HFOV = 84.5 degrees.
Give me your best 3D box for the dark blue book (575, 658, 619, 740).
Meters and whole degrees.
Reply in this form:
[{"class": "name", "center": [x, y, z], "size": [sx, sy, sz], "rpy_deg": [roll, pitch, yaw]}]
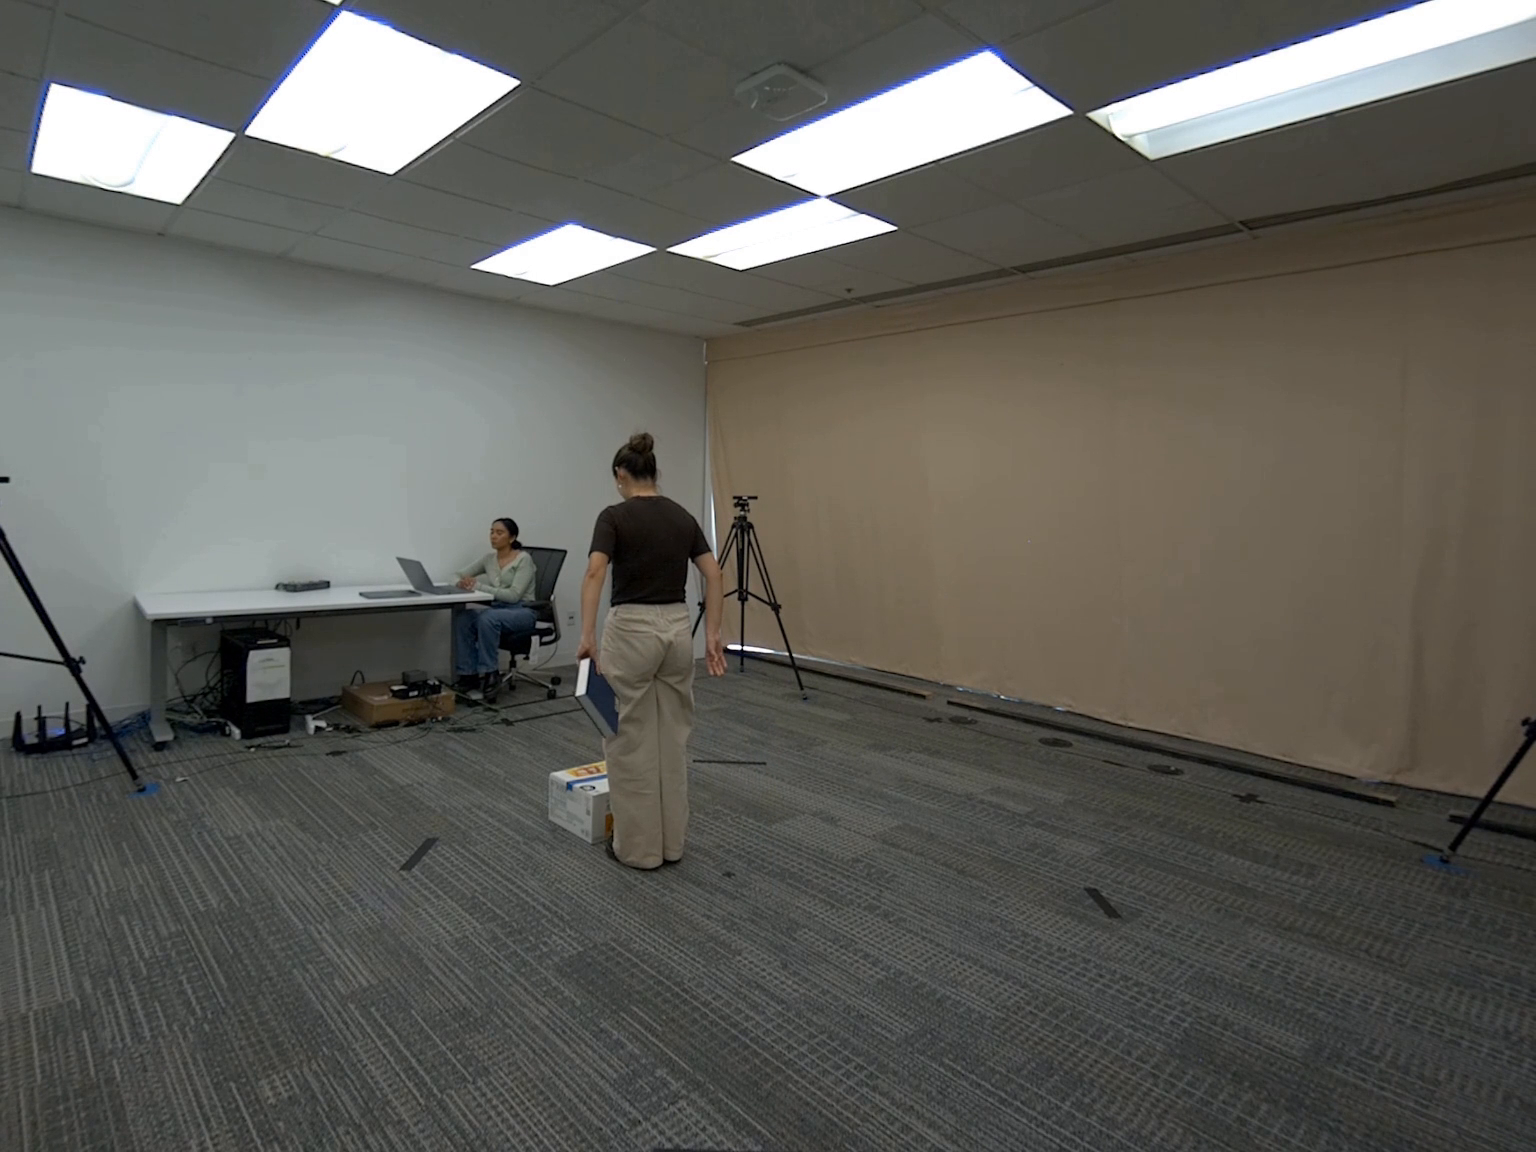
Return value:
[{"class": "dark blue book", "center": [-0.591, 0.417, 2.876], "size": [0.045, 0.238, 0.167], "rpy_deg": [-20, 40, 9]}]
